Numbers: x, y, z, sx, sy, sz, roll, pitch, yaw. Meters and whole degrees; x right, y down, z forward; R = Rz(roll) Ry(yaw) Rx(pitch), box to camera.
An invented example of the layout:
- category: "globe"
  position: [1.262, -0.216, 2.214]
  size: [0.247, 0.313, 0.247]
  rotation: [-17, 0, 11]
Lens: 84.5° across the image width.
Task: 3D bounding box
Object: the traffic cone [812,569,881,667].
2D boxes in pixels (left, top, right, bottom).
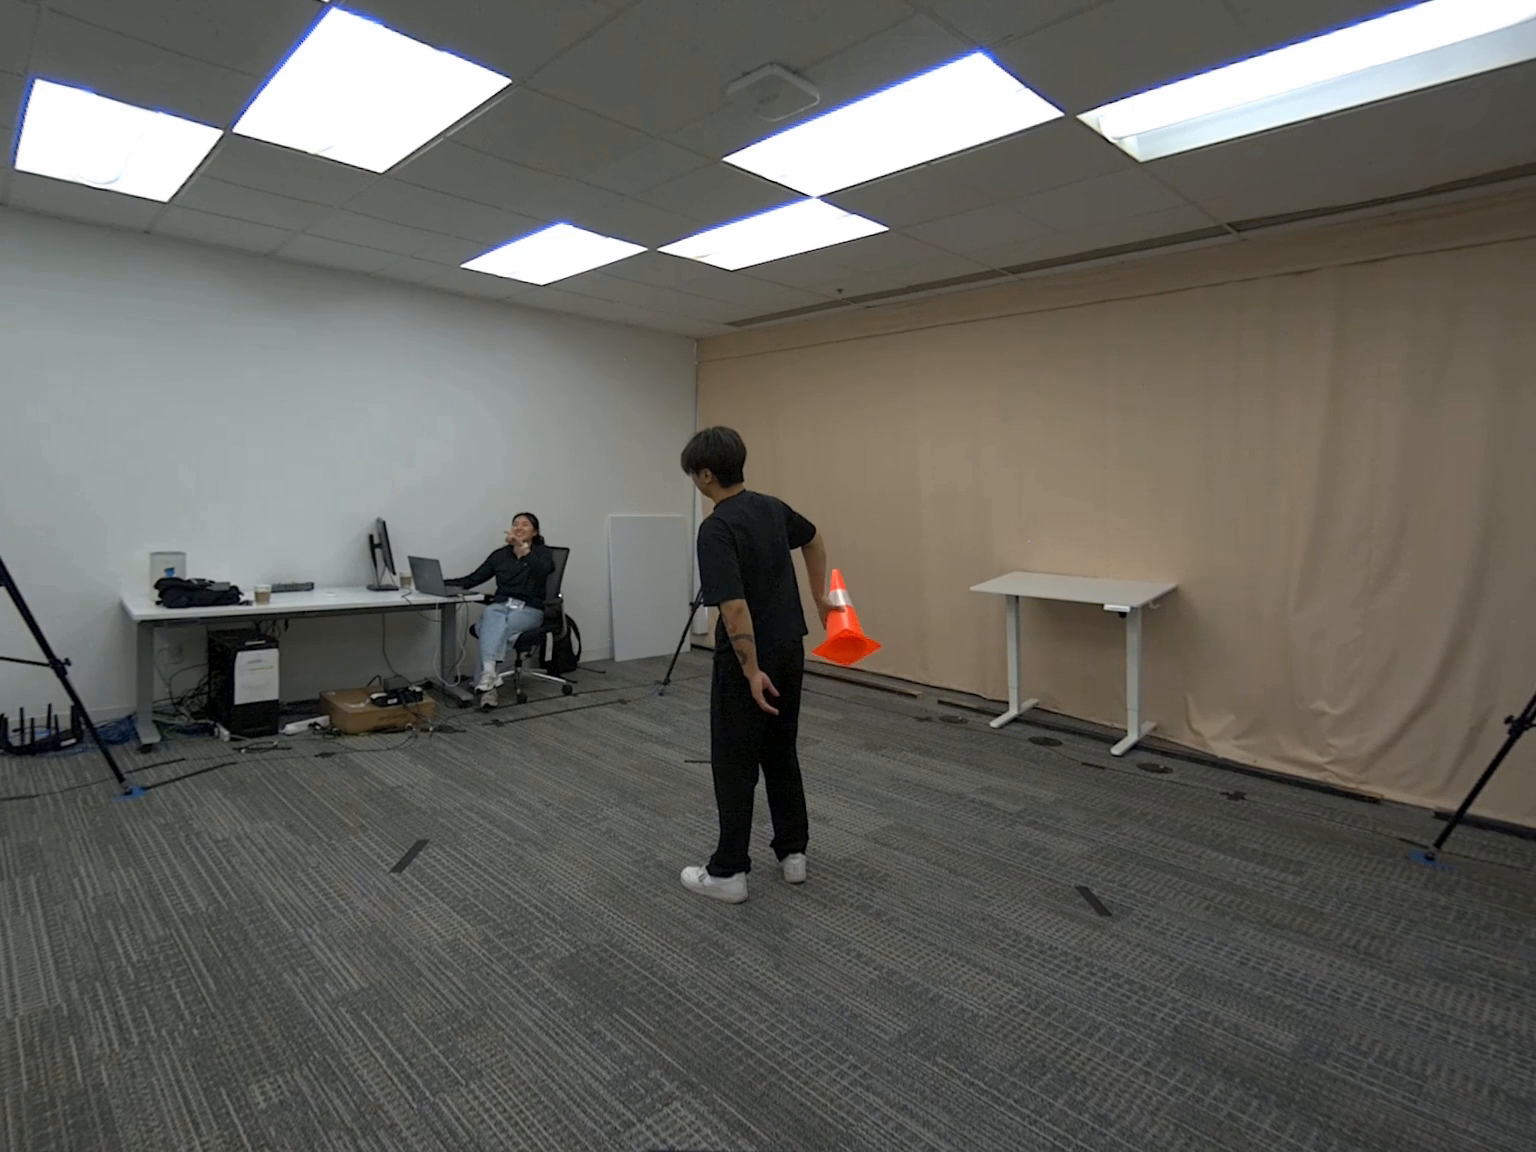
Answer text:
- category: "traffic cone"
  position: [0.277, 0.136, 3.326]
  size: [0.198, 0.392, 0.206]
  rotation: [30, -50, -32]
